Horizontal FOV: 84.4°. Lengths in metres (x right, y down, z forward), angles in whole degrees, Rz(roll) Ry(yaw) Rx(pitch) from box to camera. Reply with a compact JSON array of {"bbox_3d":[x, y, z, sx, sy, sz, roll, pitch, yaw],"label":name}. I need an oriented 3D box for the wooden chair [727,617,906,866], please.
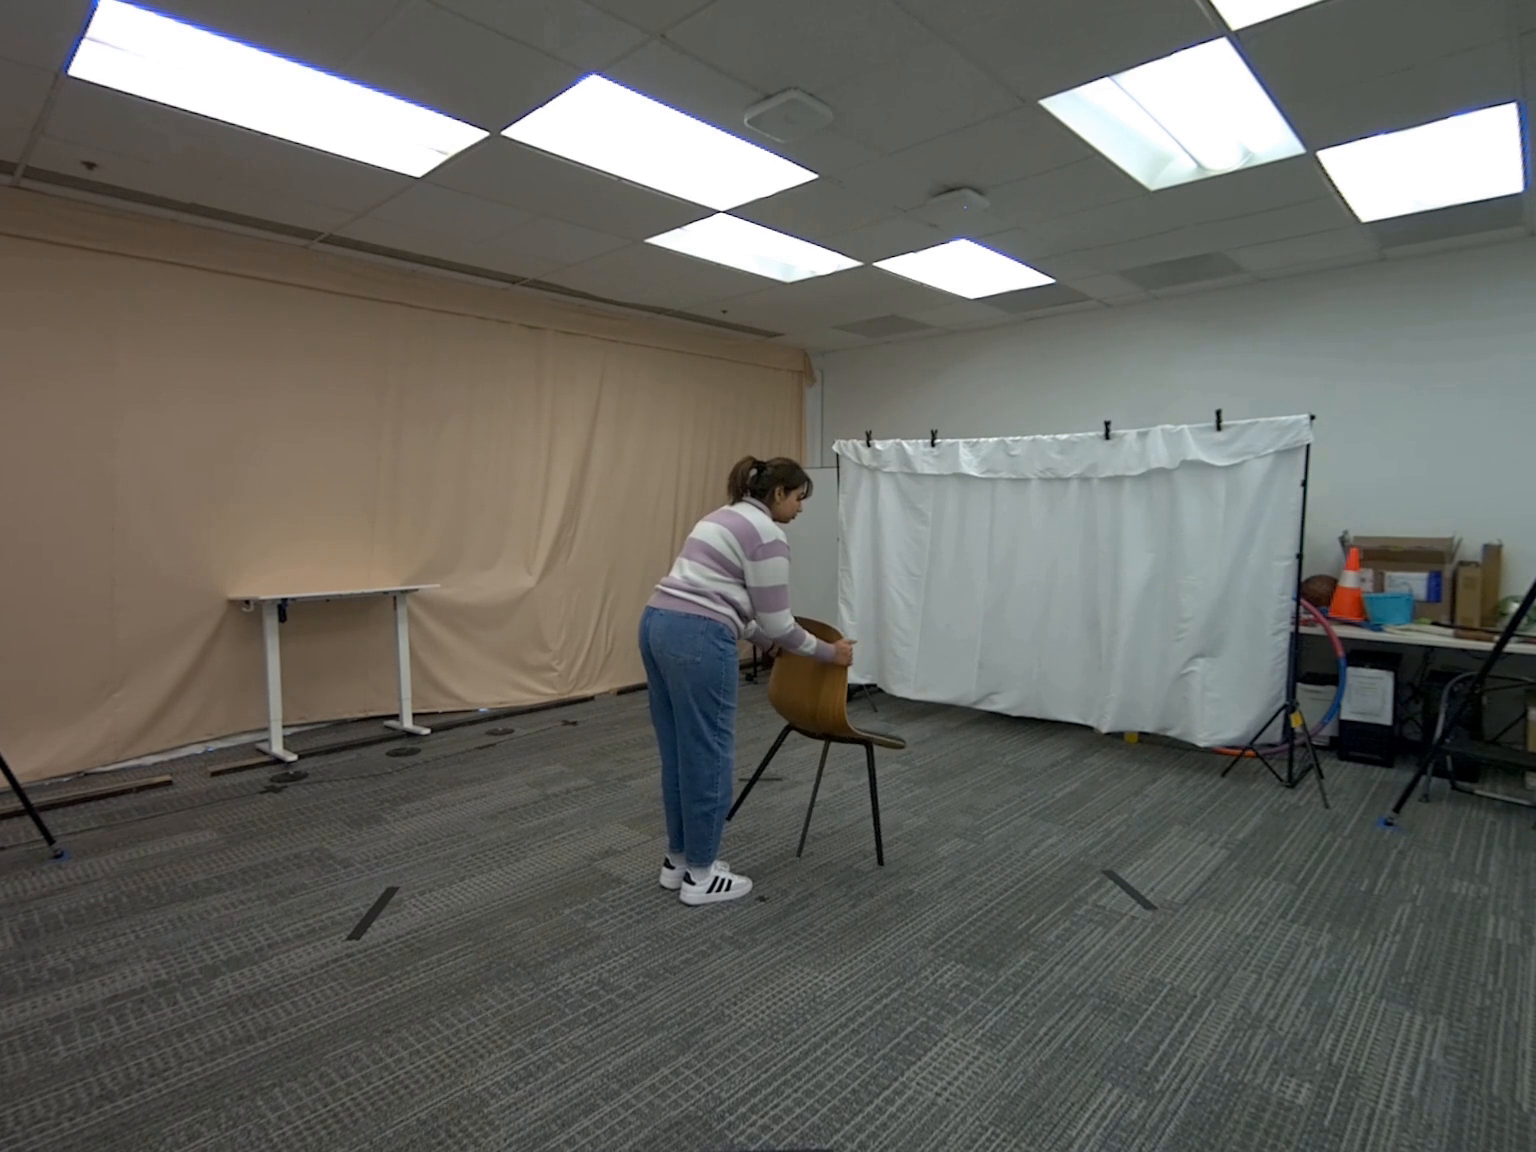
[{"bbox_3d":[0.239,0.626,3.334,0.506,0.879,0.493,14,-6,-36],"label":"wooden chair"}]
